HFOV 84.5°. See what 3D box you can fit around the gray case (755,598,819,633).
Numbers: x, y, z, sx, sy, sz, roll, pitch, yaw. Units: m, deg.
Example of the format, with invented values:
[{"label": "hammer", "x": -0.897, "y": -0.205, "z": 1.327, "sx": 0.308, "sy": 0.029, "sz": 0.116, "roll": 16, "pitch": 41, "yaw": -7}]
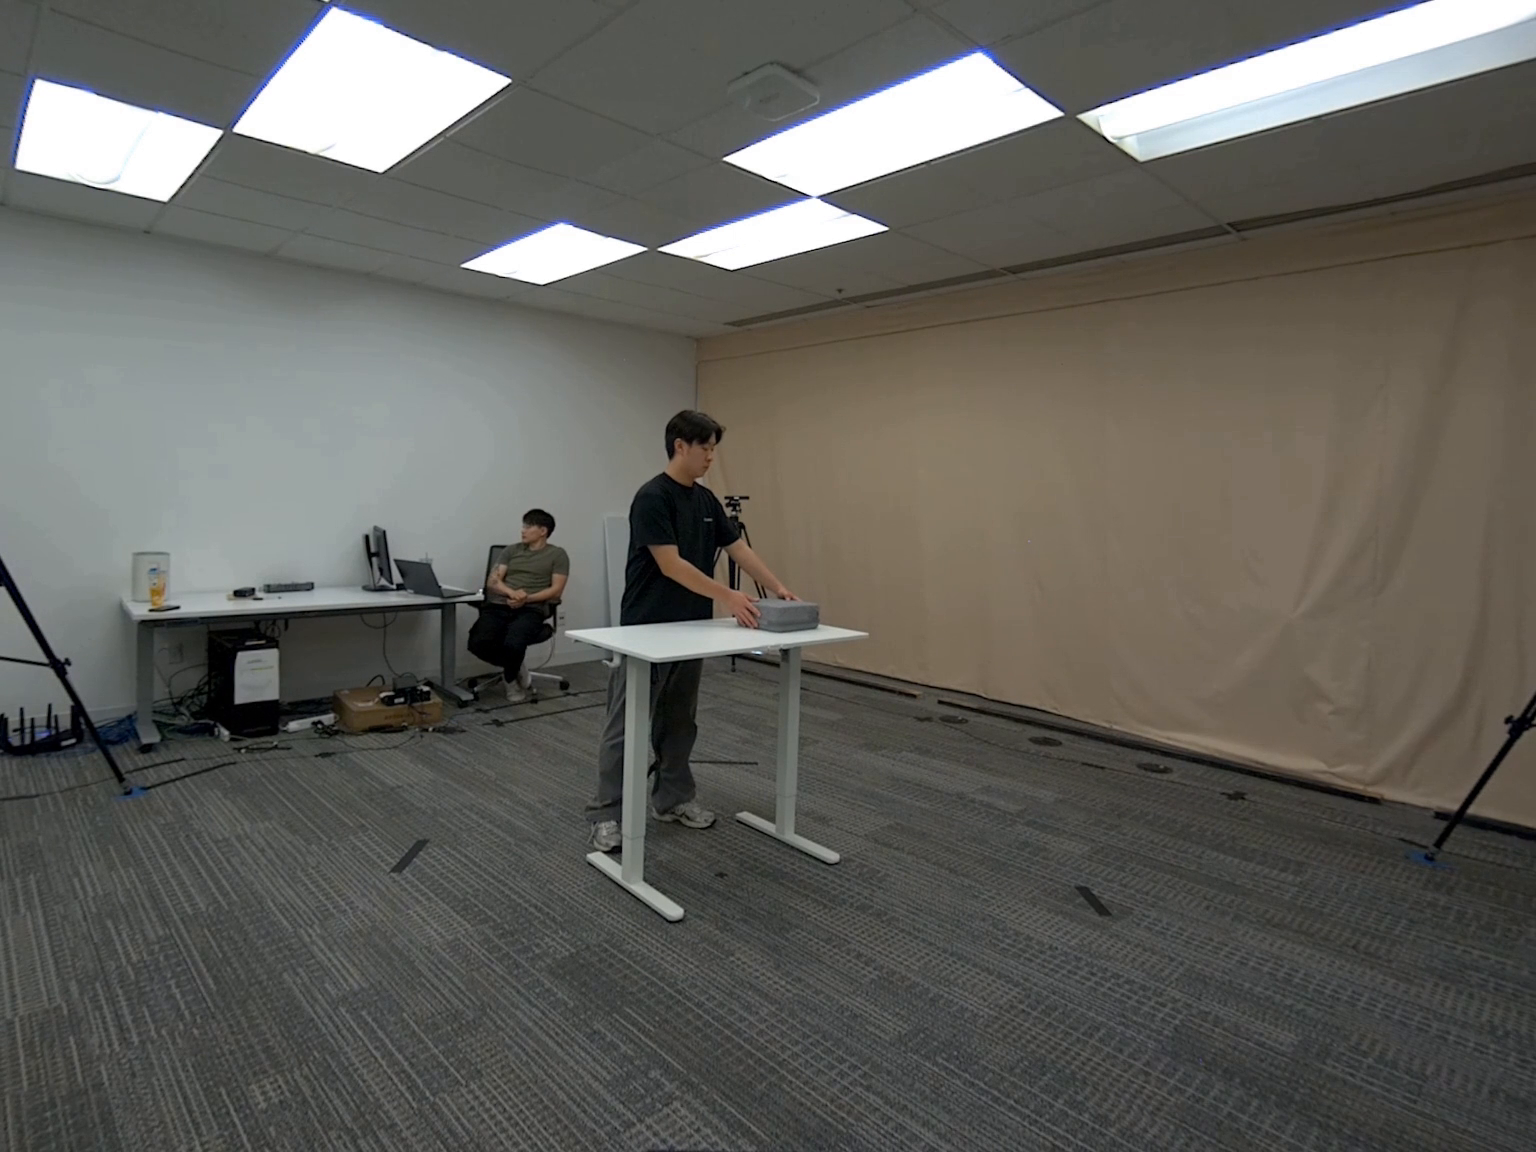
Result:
[{"label": "gray case", "x": 0.043, "y": 0.153, "z": 3.369, "sx": 0.281, "sy": 0.103, "sz": 0.270, "roll": -3, "pitch": 6, "yaw": -41}]
